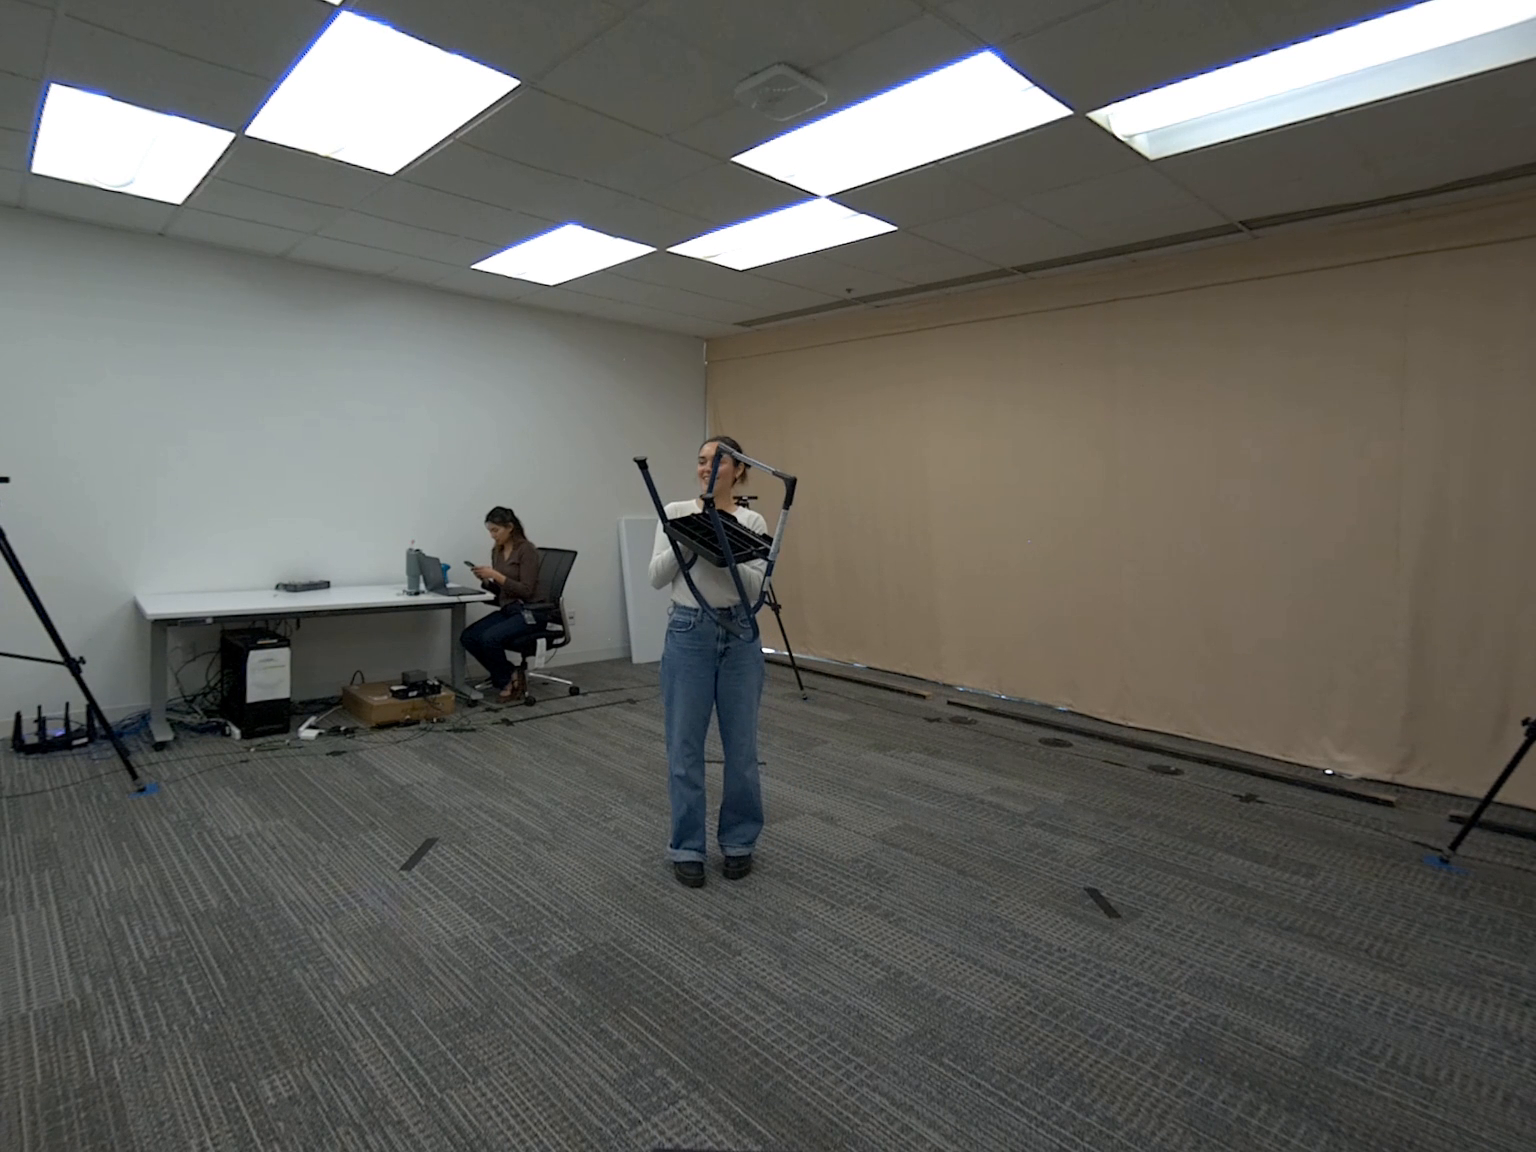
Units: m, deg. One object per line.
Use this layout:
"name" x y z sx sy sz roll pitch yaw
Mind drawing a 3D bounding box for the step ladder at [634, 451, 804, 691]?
"step ladder" -0.189 -0.066 2.744 0.344 0.596 0.444 -15 29 -31
